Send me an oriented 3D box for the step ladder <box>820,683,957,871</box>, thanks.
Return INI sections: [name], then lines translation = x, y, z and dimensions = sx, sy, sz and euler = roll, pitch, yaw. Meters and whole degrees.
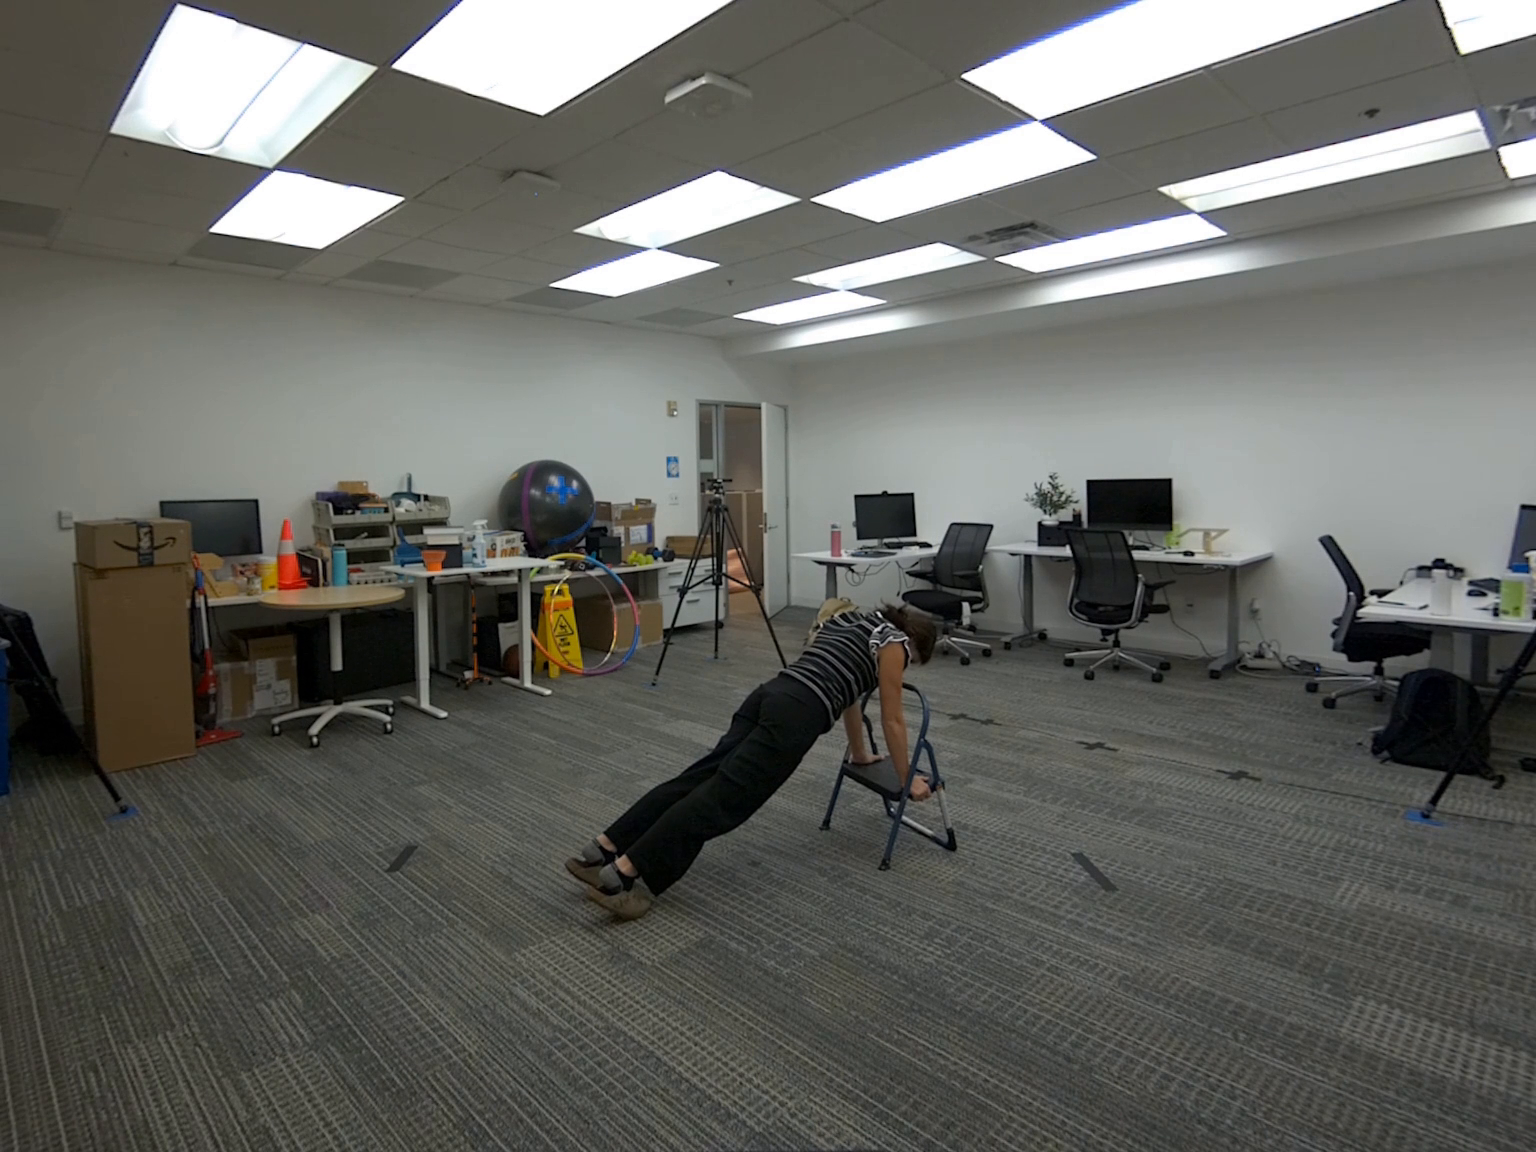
[step ladder]
translation = 0.457, 0.716, 3.280
dimensions = 0.341, 0.604, 0.442
euler = -2, 5, -28
